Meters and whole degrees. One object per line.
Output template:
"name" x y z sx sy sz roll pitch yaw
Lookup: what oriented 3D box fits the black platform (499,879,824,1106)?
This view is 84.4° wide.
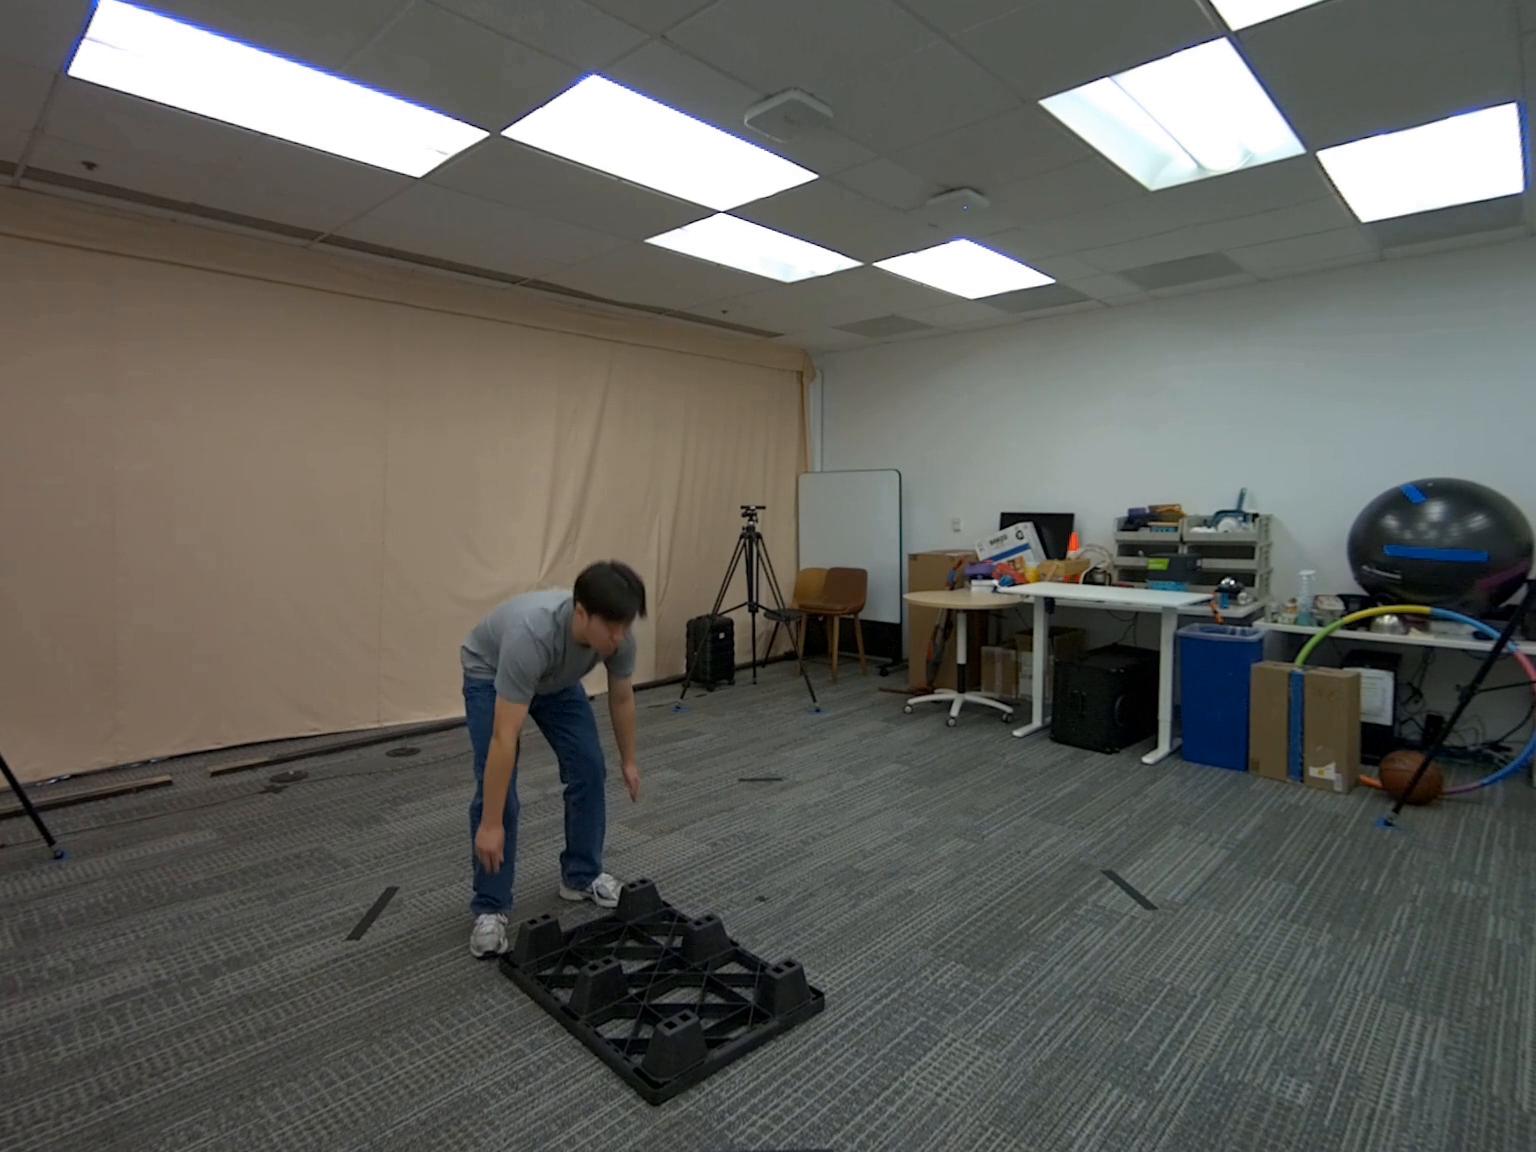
"black platform" -0.318 1.125 2.429 0.587 0.143 0.832 -5 7 -43
